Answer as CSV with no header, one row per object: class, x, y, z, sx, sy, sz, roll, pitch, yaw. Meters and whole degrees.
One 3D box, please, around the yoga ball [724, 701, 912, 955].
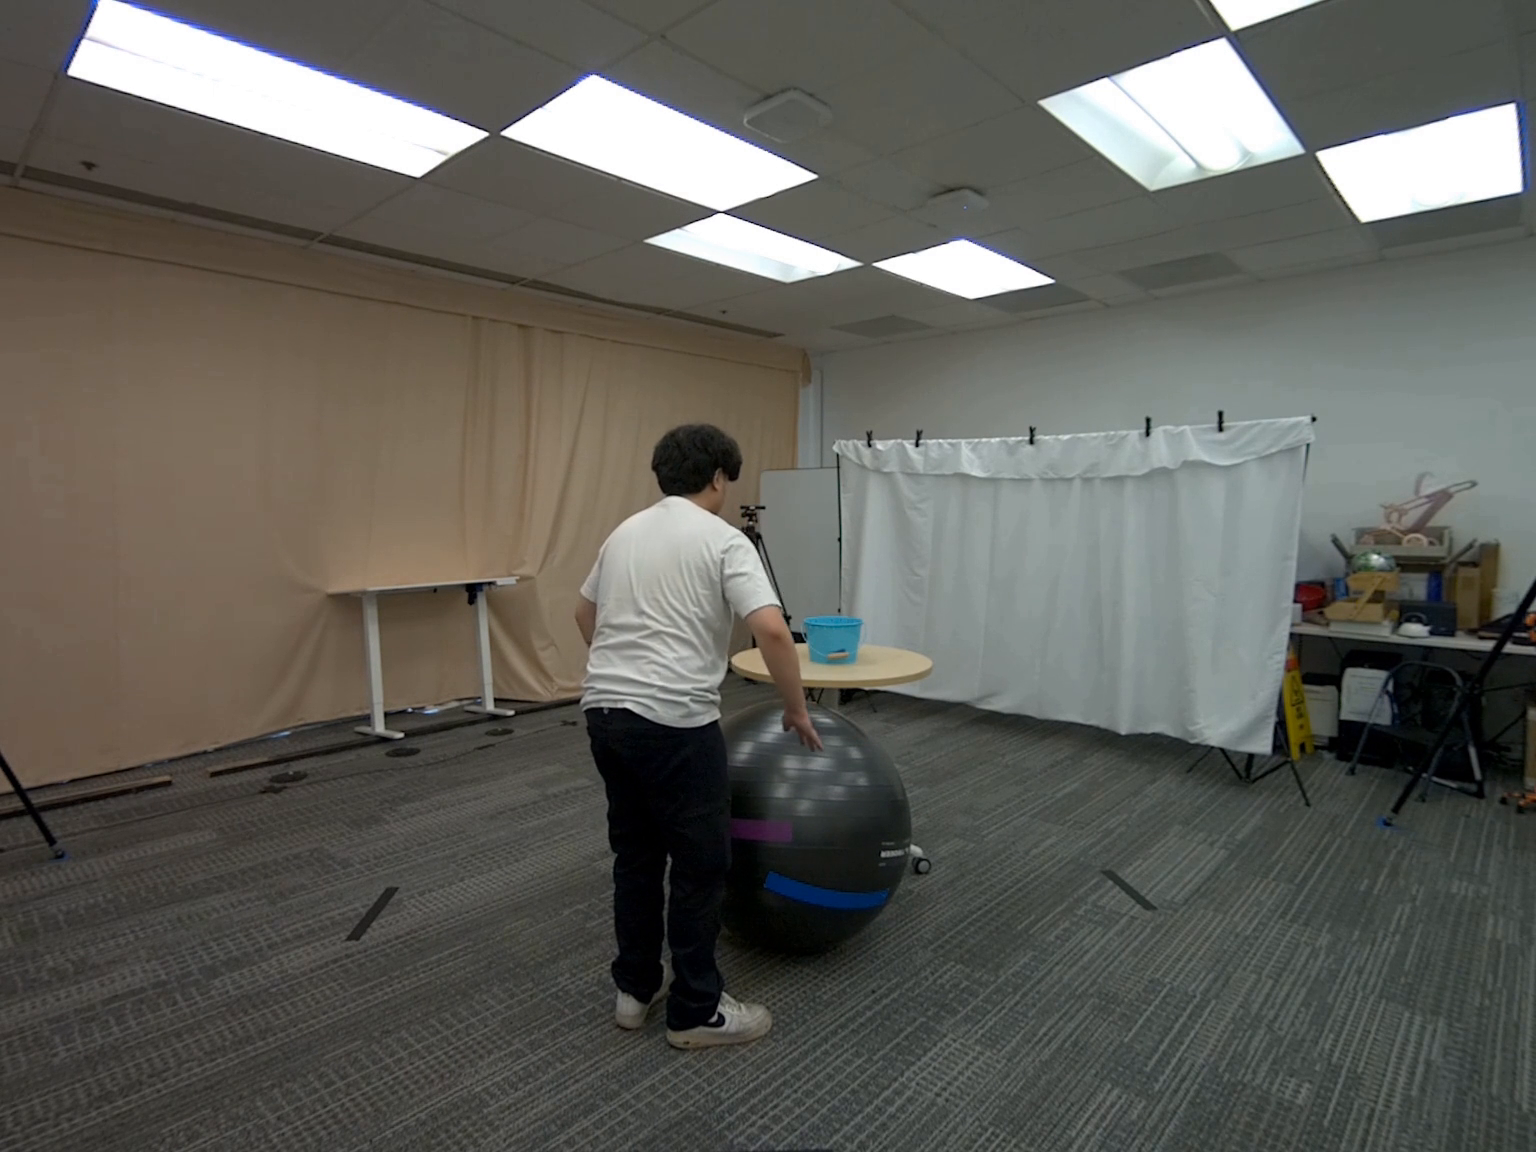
yoga ball,0.080,0.805,2.728,0.757,0.756,0.760,0,4,-2
